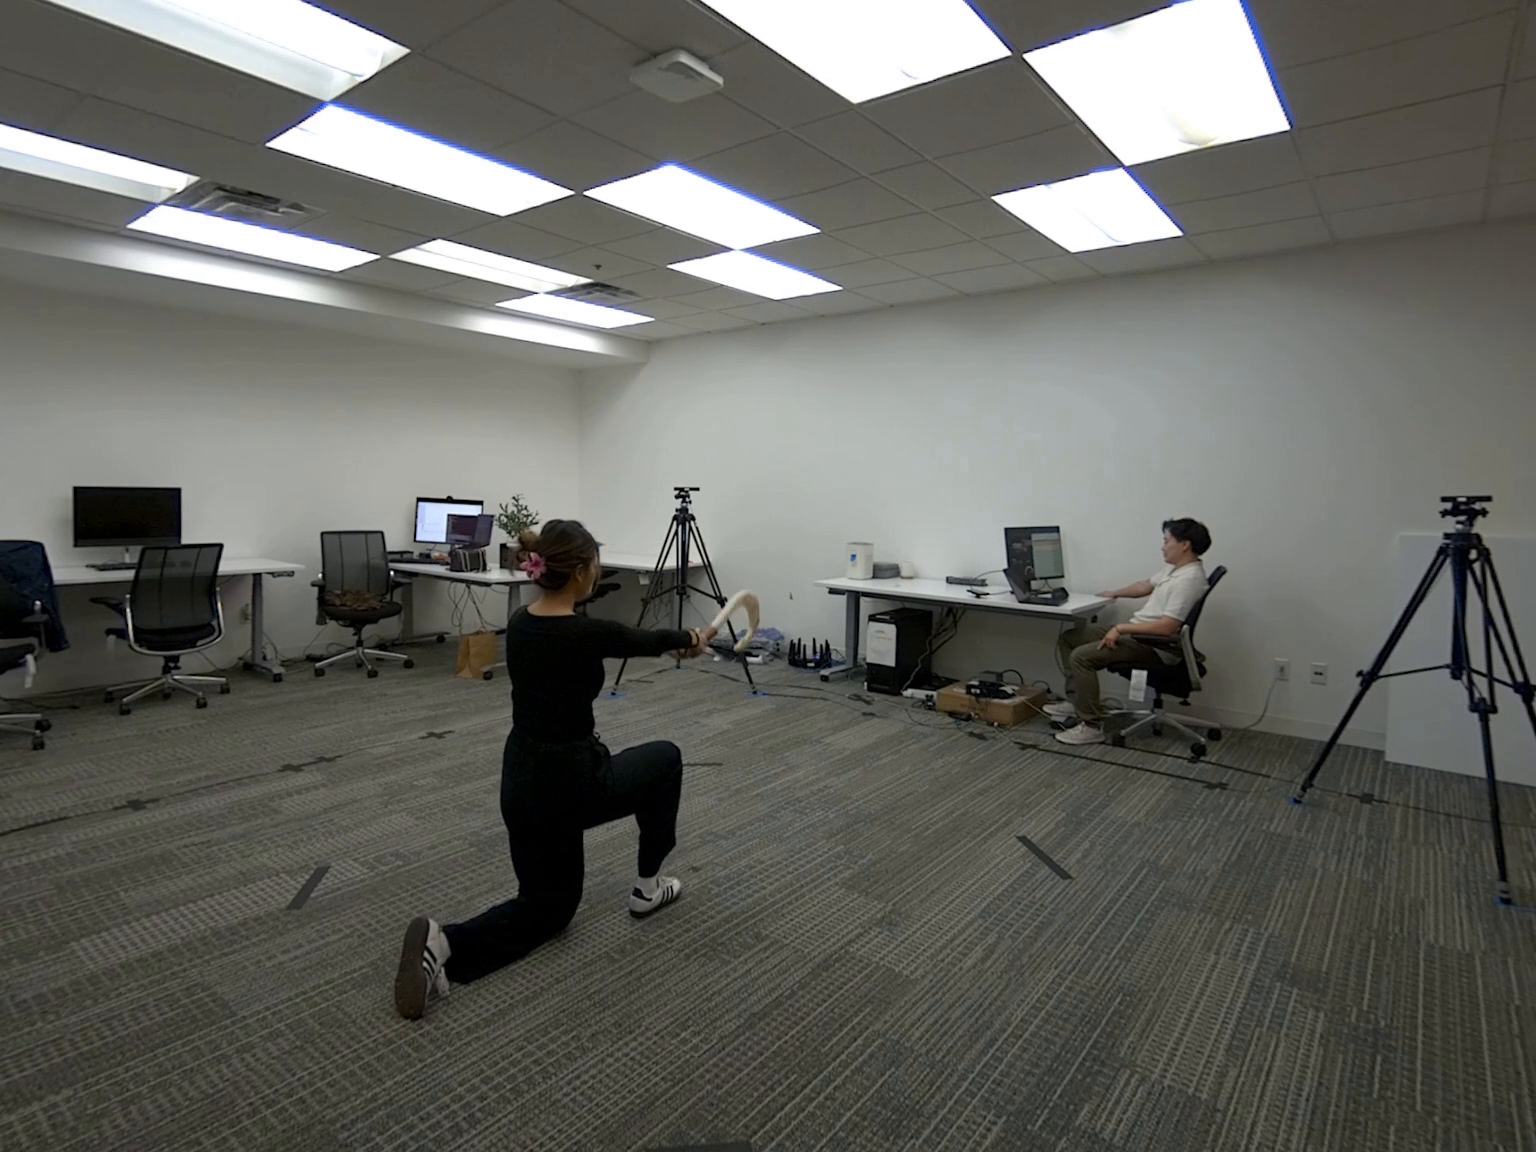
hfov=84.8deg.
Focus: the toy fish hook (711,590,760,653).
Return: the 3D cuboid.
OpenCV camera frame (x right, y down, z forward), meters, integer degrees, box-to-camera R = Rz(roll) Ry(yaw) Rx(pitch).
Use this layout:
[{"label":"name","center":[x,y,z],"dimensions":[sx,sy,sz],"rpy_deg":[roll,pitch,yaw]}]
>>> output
[{"label":"toy fish hook","center":[-0.191,0.220,3.215],"dimensions":[0.050,0.220,0.501],"rpy_deg":[0,23,36]}]
